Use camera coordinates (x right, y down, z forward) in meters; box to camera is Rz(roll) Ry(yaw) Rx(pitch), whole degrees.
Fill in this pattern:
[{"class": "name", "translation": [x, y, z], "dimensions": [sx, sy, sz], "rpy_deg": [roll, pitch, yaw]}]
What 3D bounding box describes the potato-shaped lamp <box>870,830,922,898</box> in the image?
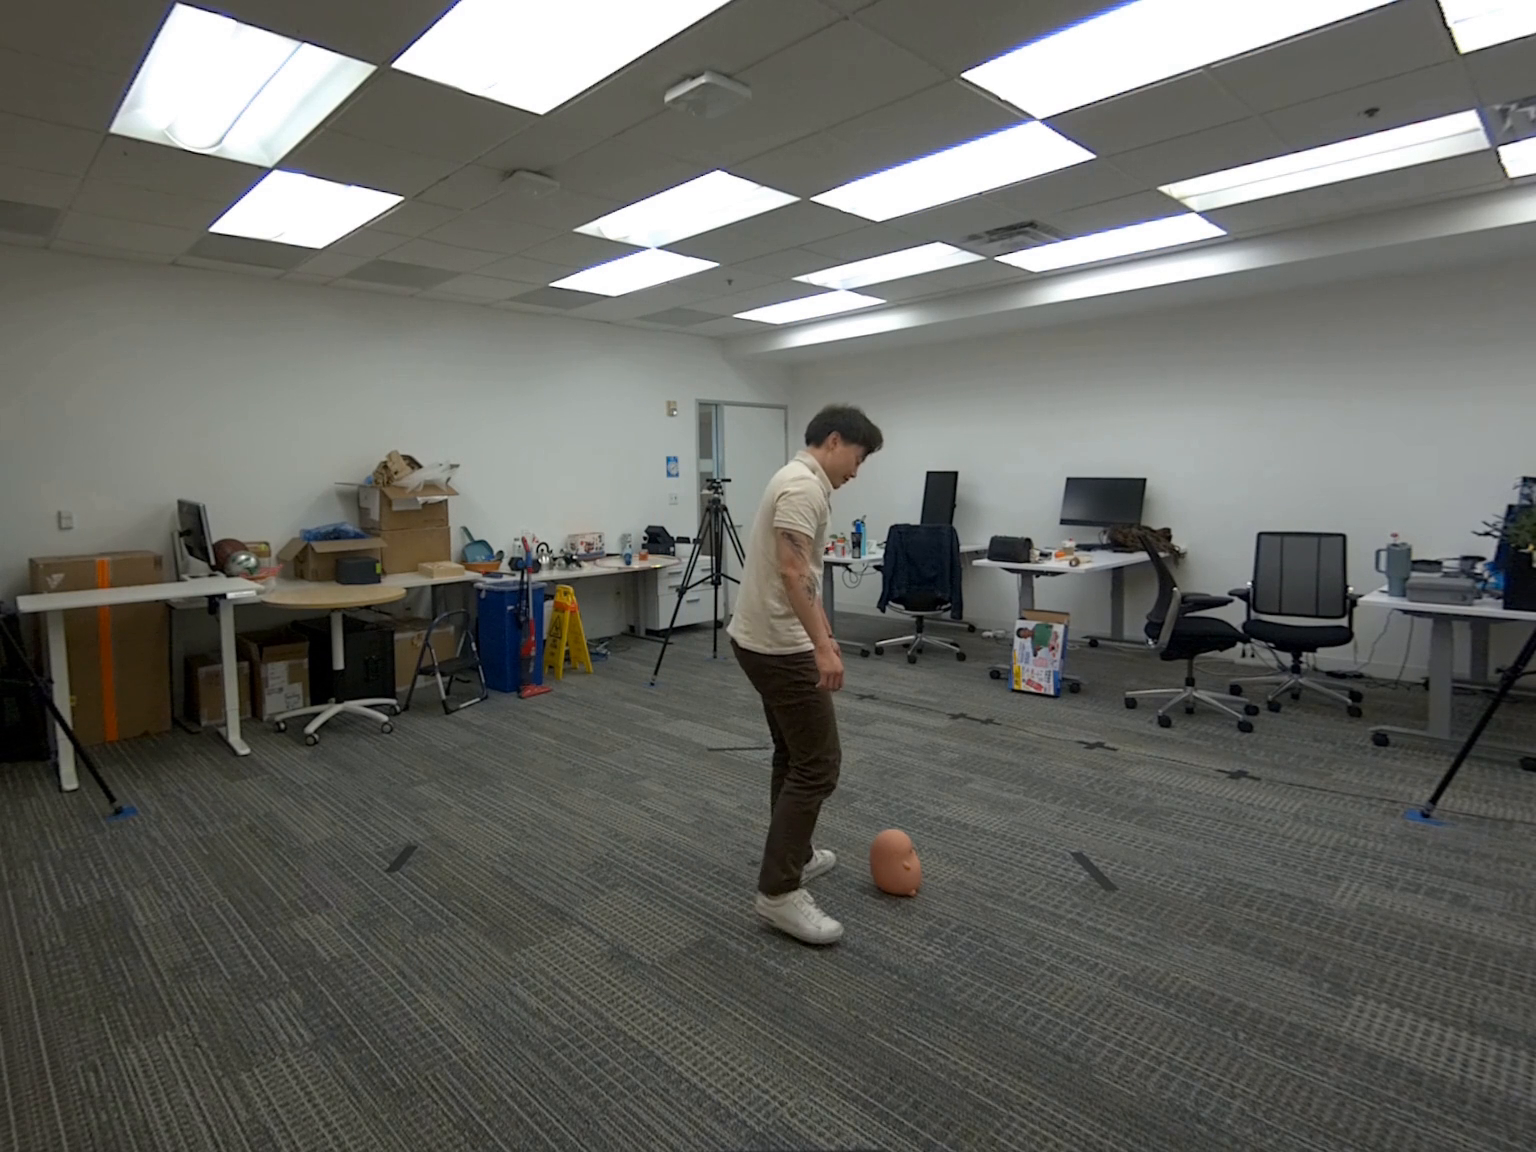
[{"class": "potato-shaped lamp", "translation": [0.429, 0.955, 2.887], "dimensions": [0.175, 0.197, 0.162], "rpy_deg": [0, 5, 20]}]
